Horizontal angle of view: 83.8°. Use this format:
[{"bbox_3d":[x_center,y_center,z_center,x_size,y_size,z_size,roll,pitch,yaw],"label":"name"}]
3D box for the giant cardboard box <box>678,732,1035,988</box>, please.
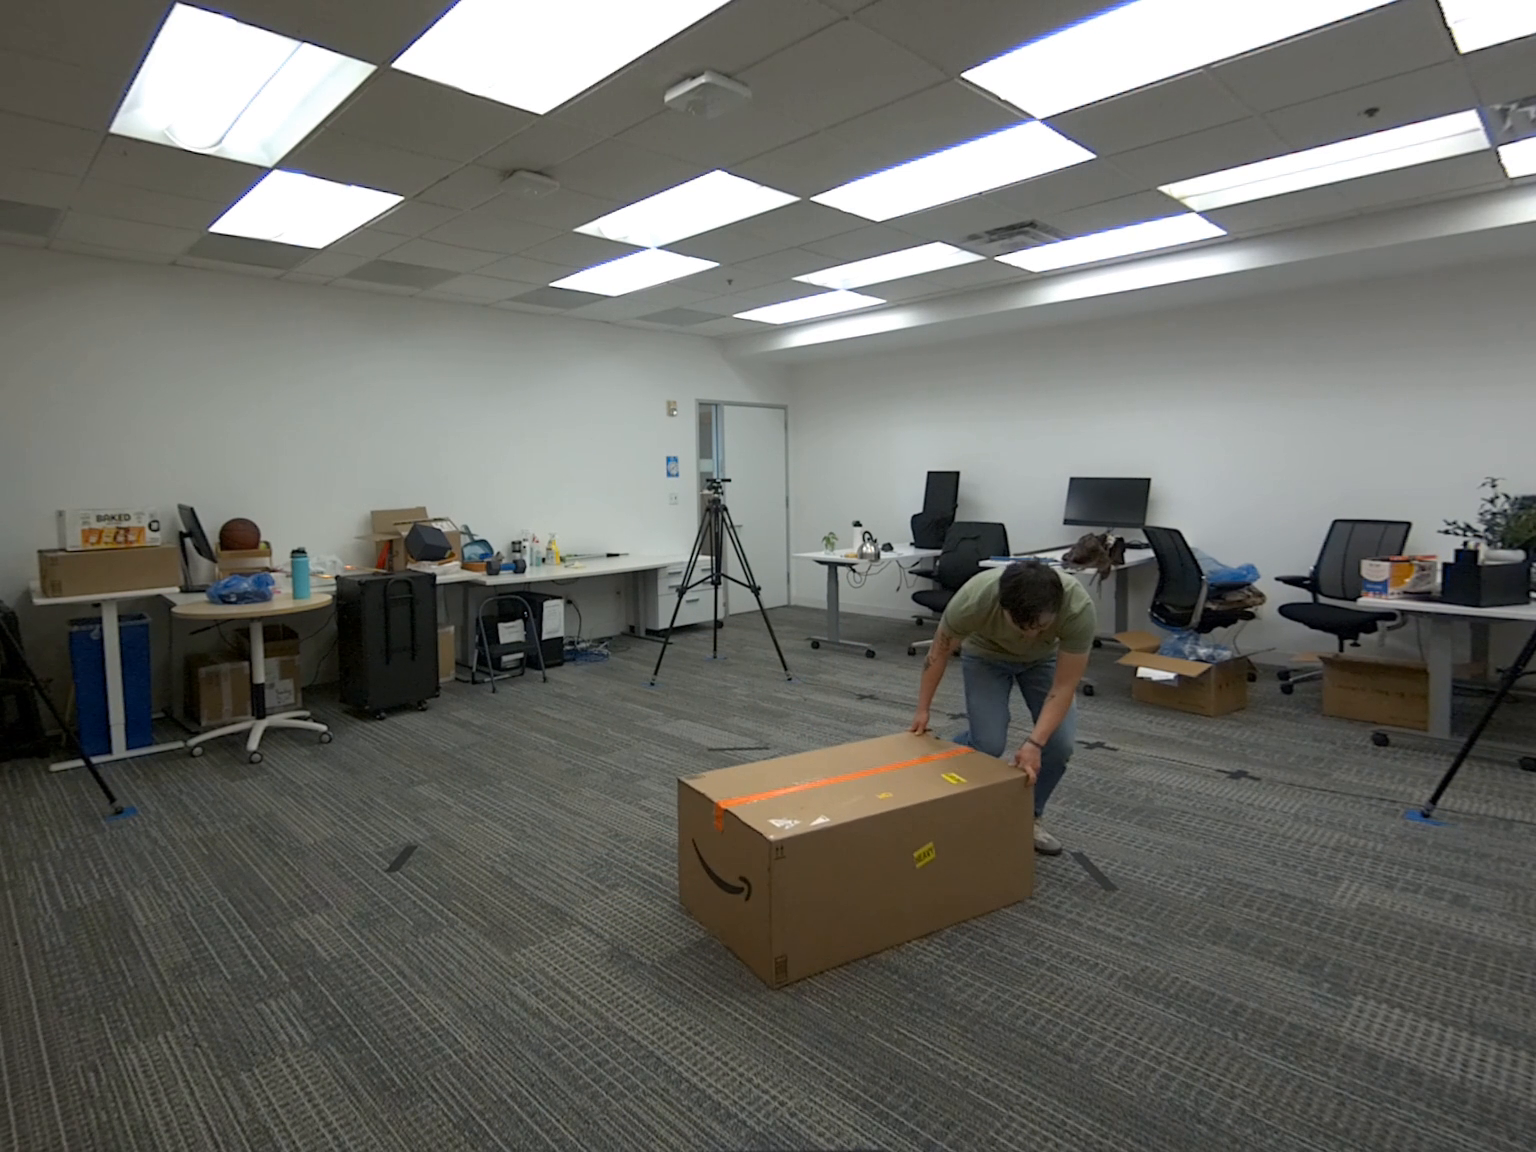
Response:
[{"bbox_3d":[0.285,0.860,2.803,1.002,0.424,0.594,-4,7,-30],"label":"giant cardboard box"}]
